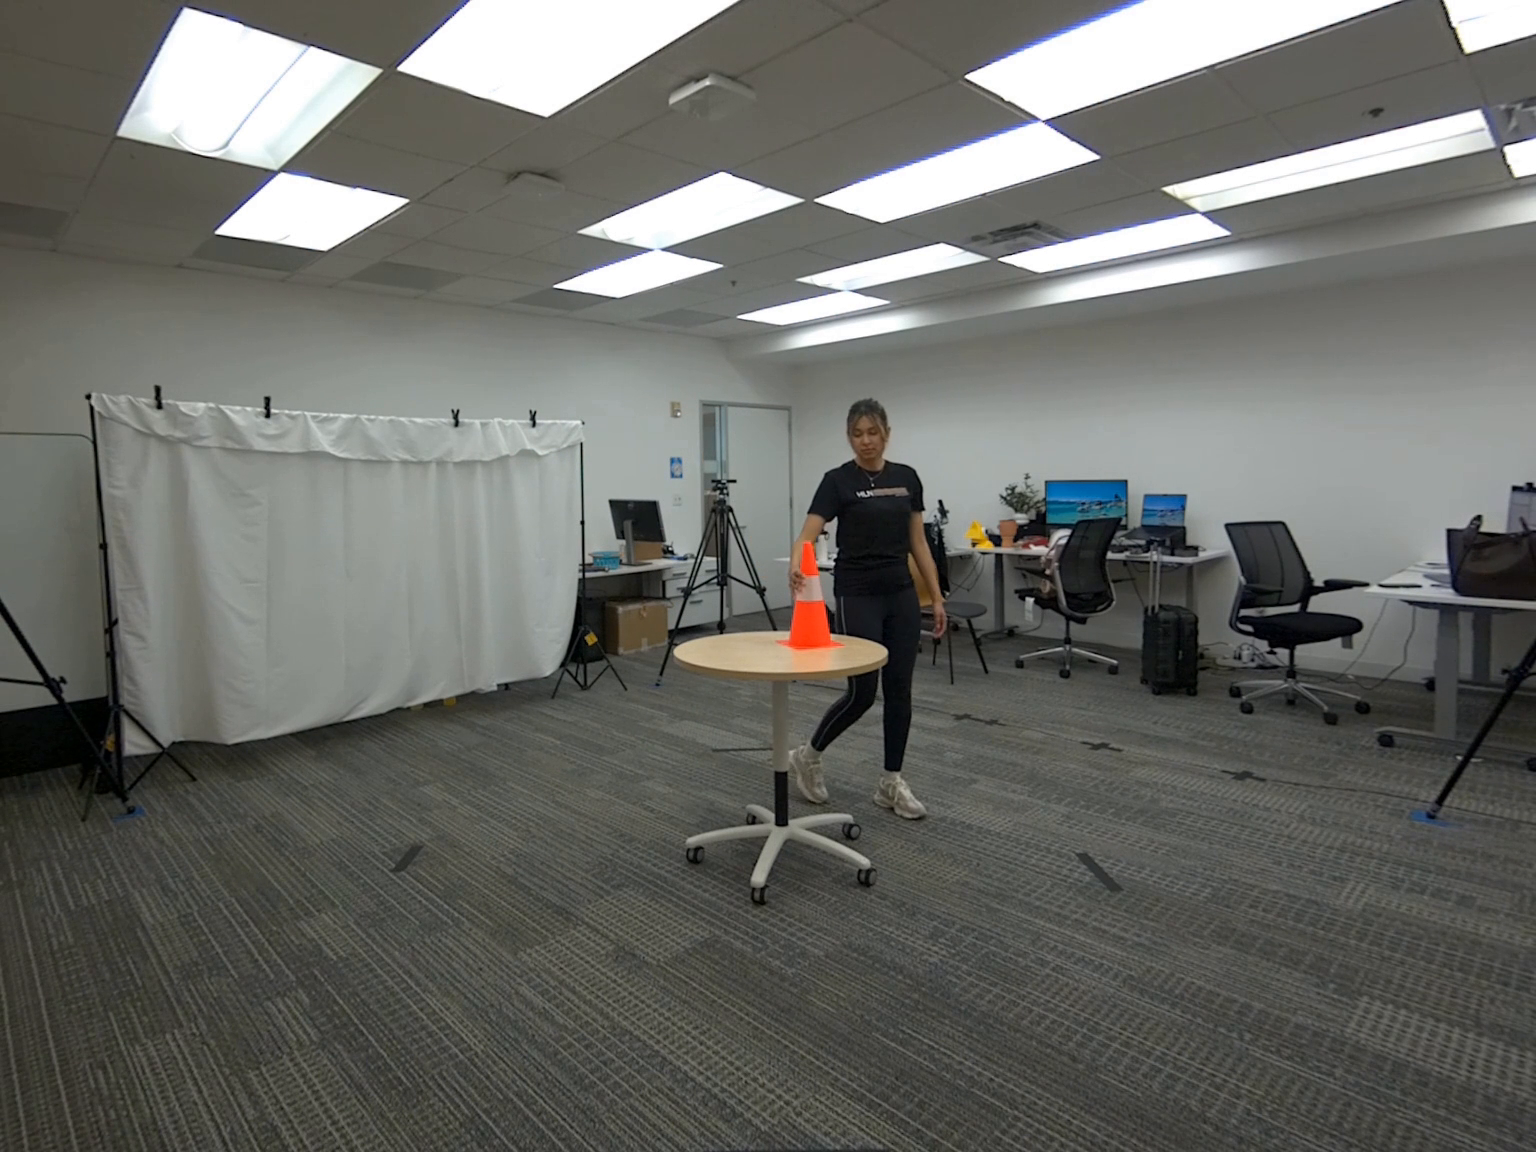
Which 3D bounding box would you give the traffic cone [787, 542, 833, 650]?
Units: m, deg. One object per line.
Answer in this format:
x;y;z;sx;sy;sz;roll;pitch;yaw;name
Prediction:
0.156;0.065;3.177;0.198;0.383;0.211;-2;1;-44;traffic cone
